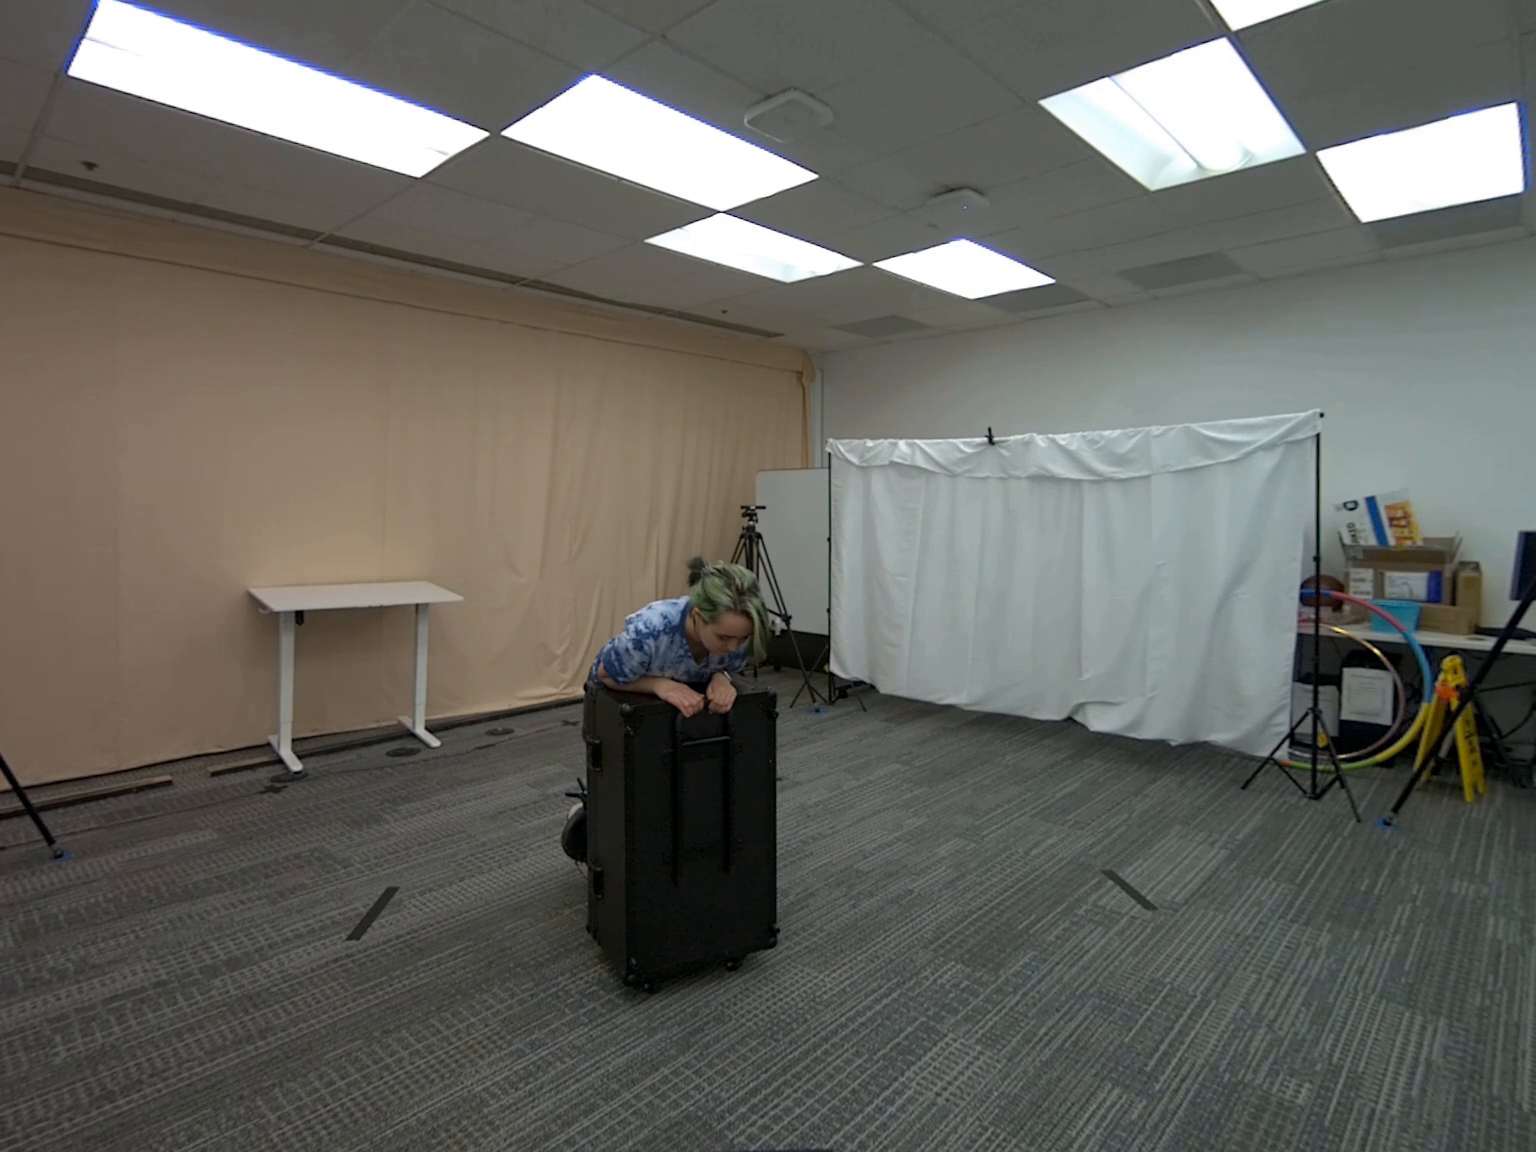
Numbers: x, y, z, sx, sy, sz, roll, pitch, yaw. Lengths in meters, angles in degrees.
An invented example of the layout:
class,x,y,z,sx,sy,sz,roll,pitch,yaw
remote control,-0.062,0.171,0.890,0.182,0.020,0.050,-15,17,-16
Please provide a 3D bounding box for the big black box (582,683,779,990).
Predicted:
class,x,y,z,sx,sy,sz,roll,pitch,yaw
big black box,-0.257,0.706,2.541,0.508,0.859,0.407,-2,4,-28
